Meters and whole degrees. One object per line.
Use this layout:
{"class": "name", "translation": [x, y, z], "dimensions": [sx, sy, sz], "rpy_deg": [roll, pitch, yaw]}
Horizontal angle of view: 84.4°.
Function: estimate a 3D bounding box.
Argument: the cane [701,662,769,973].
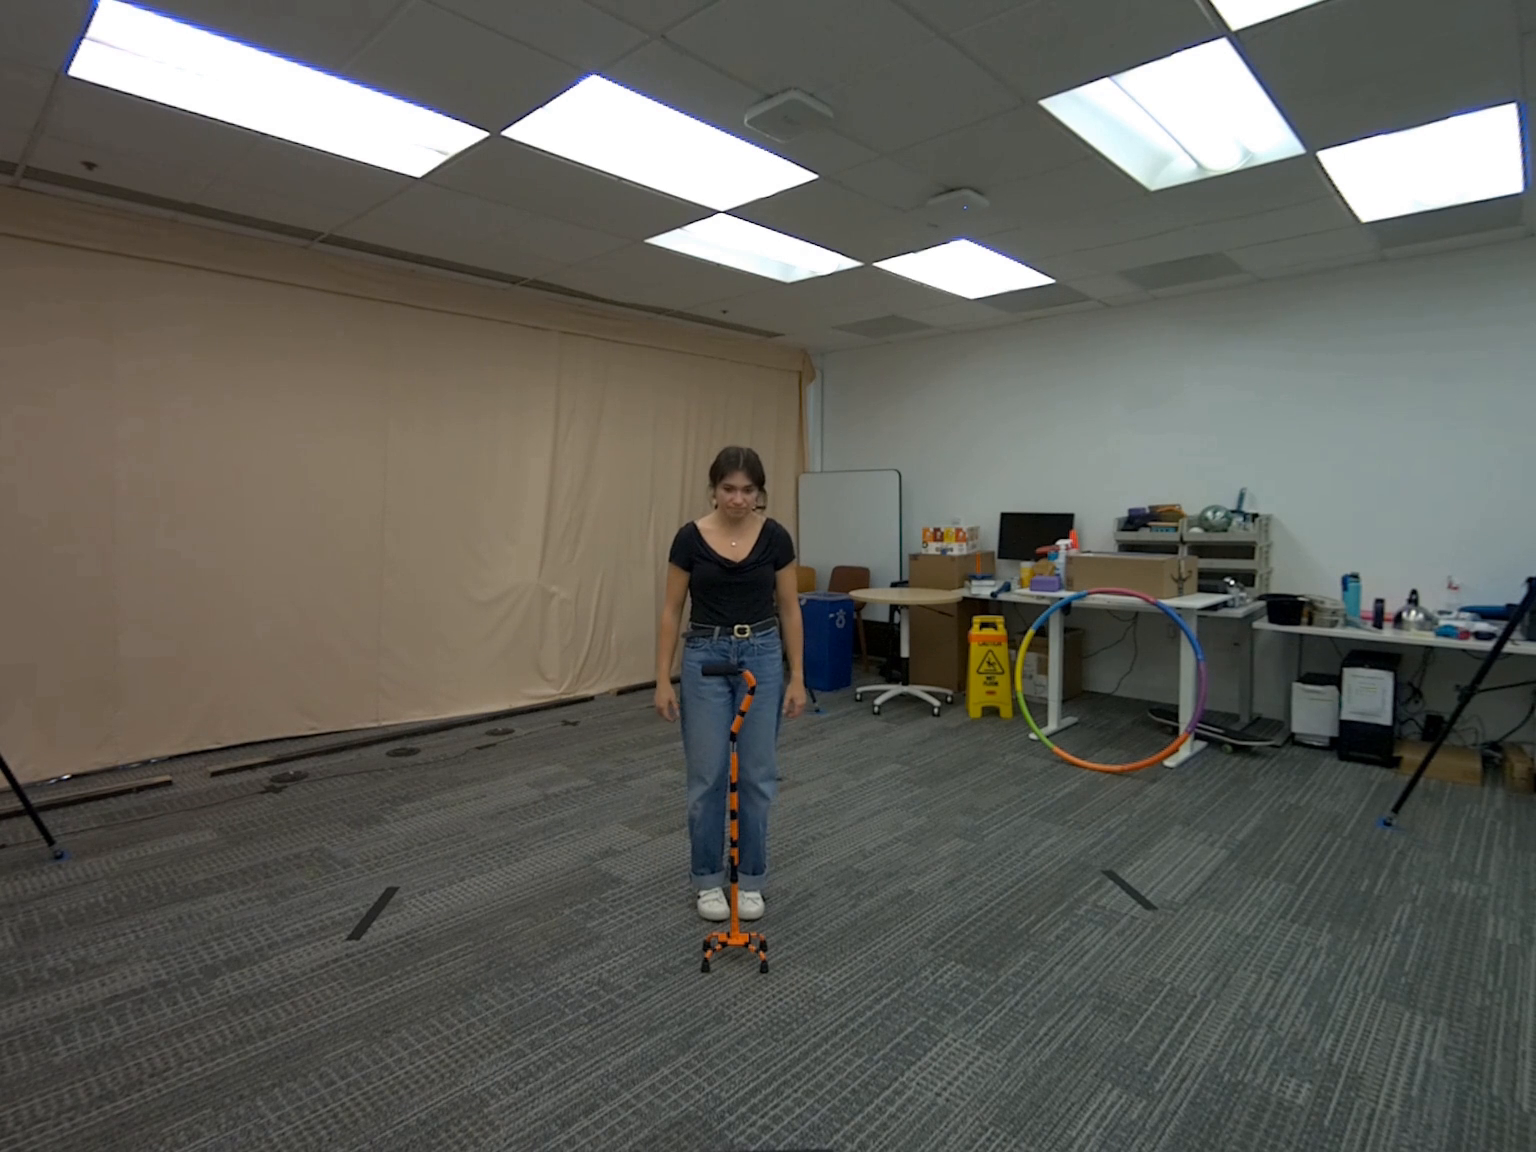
{"class": "cane", "translation": [-0.099, 0.720, 2.560], "dimensions": [0.206, 0.906, 0.152], "rpy_deg": [0, 3, 0]}
